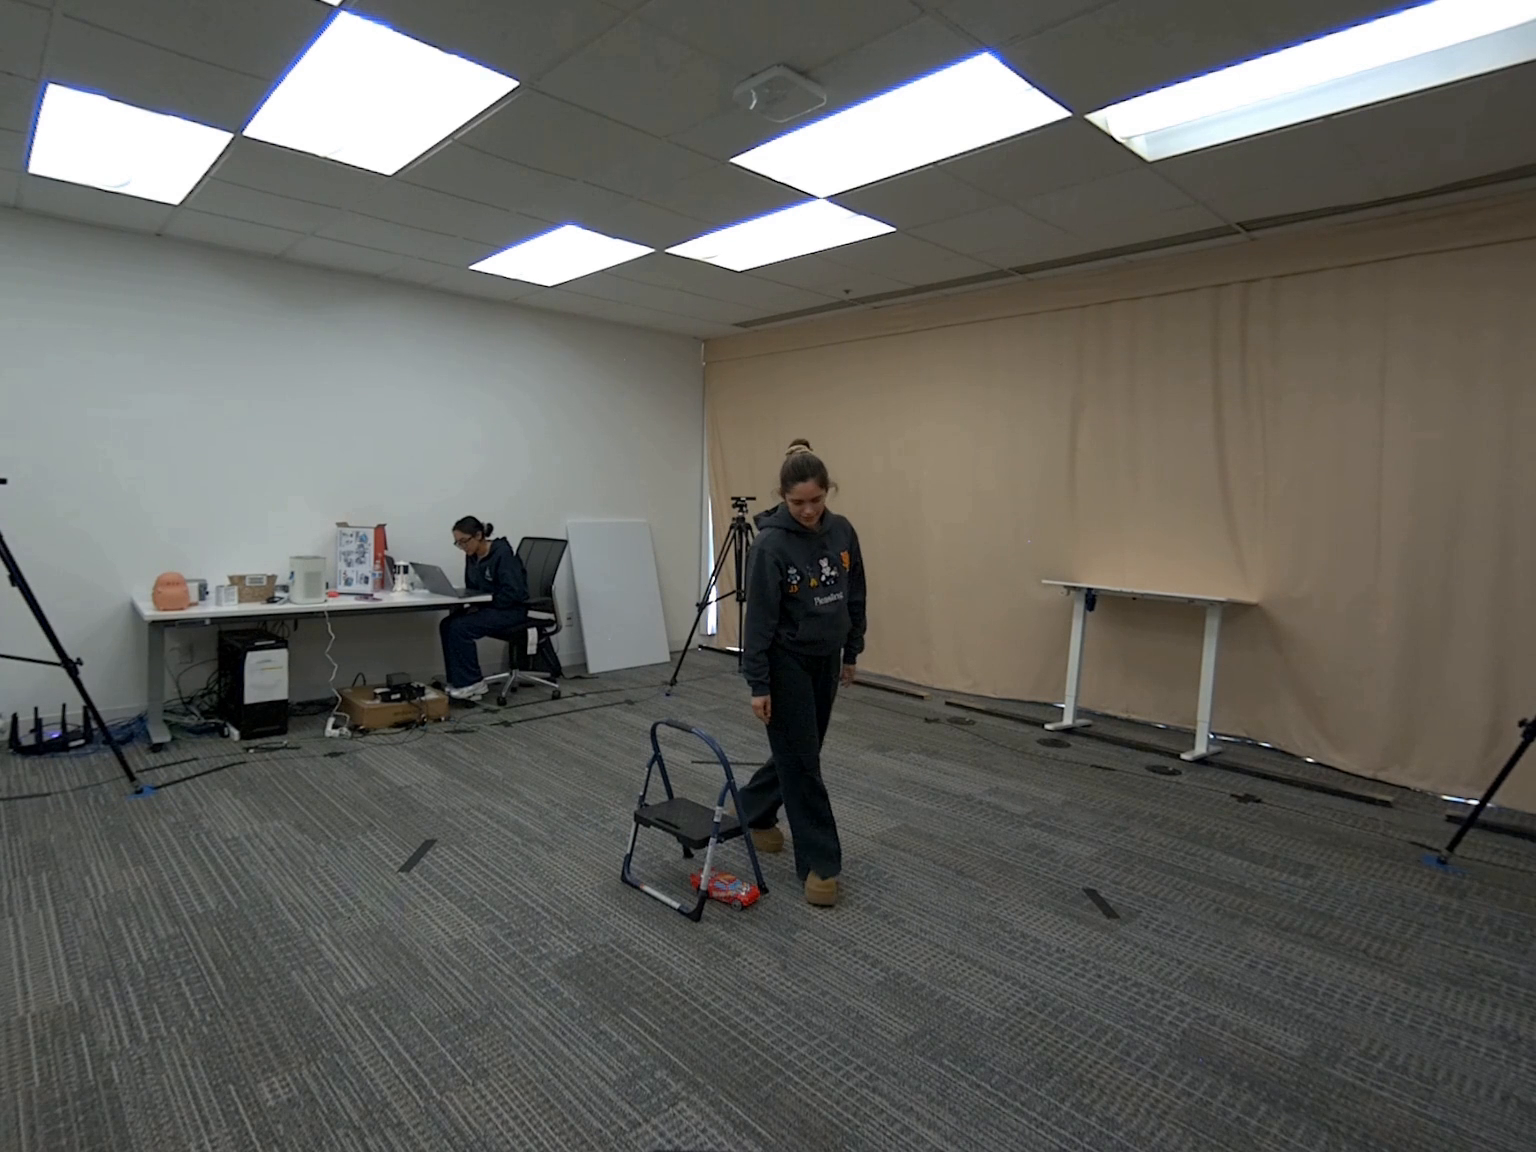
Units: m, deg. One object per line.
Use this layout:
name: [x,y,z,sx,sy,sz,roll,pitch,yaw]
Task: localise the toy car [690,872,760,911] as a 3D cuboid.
toy car: [-0.168,1.094,2.945,0.261,0.083,0.128,16,11,30]
